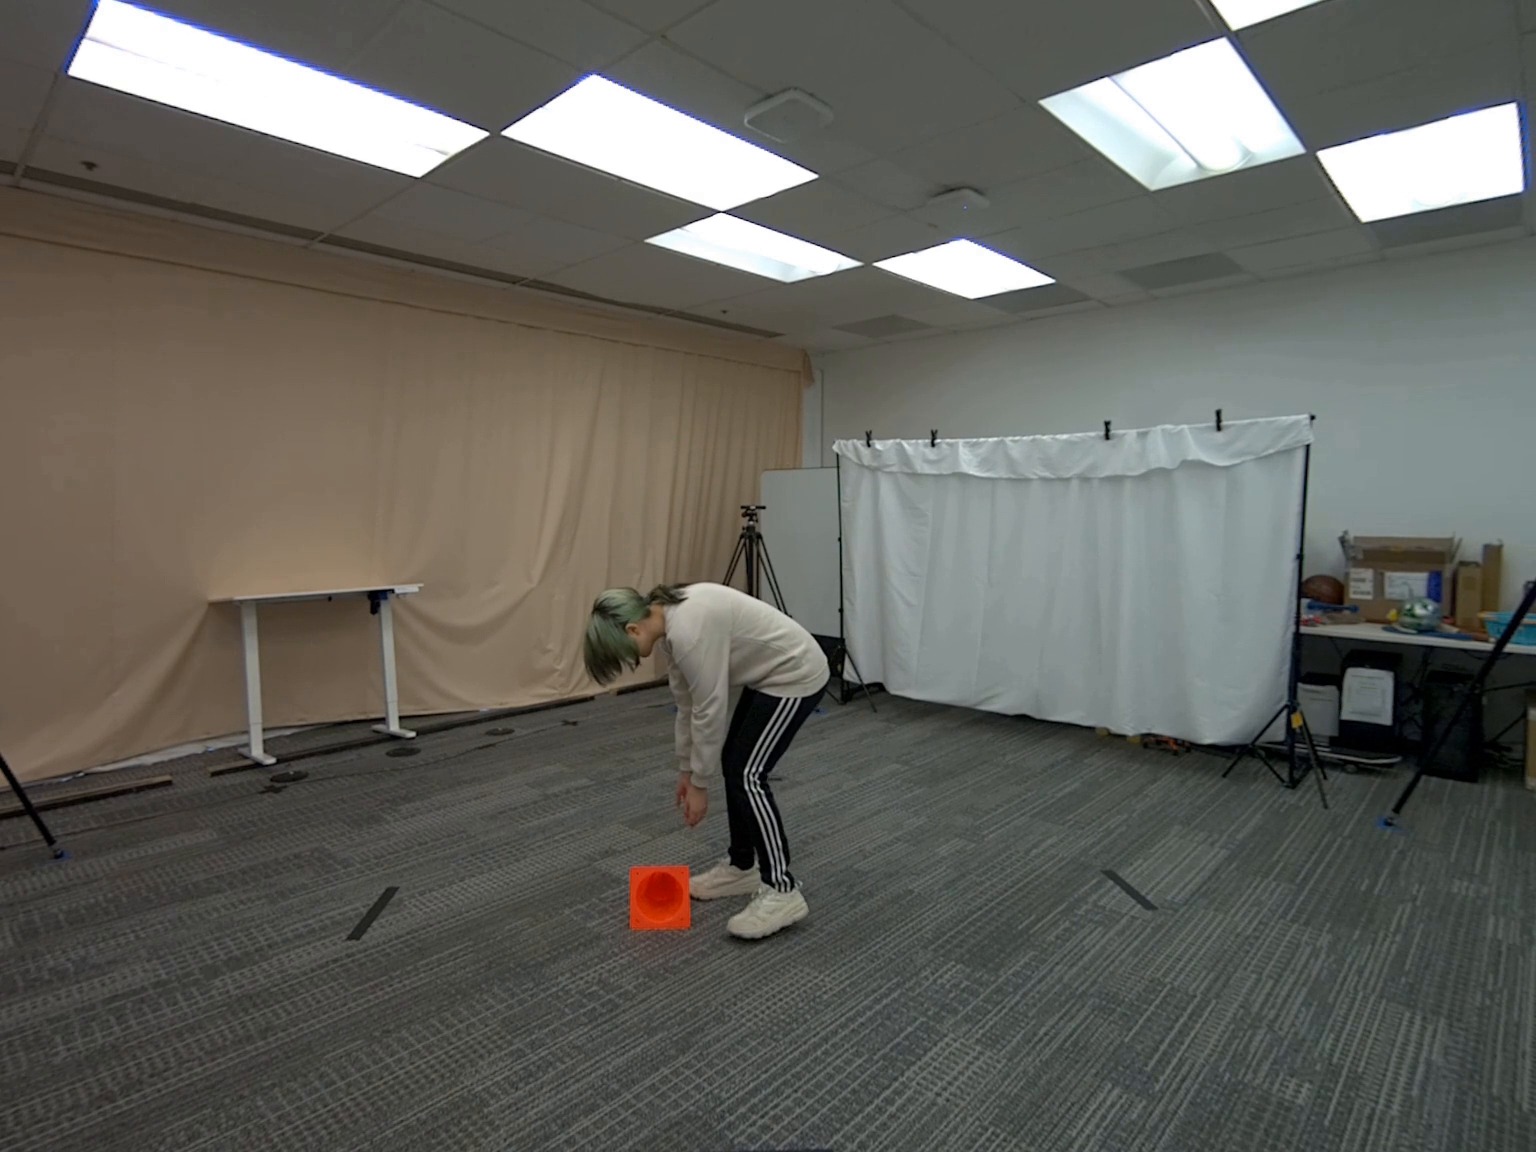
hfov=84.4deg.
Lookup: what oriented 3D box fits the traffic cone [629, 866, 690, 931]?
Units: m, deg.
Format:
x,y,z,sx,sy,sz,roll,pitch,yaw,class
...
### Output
x,y,z,sx,sy,sz,roll,pitch,yaw,class
-0.381,1.101,2.978,0.204,0.204,0.383,5,-7,-5,traffic cone
